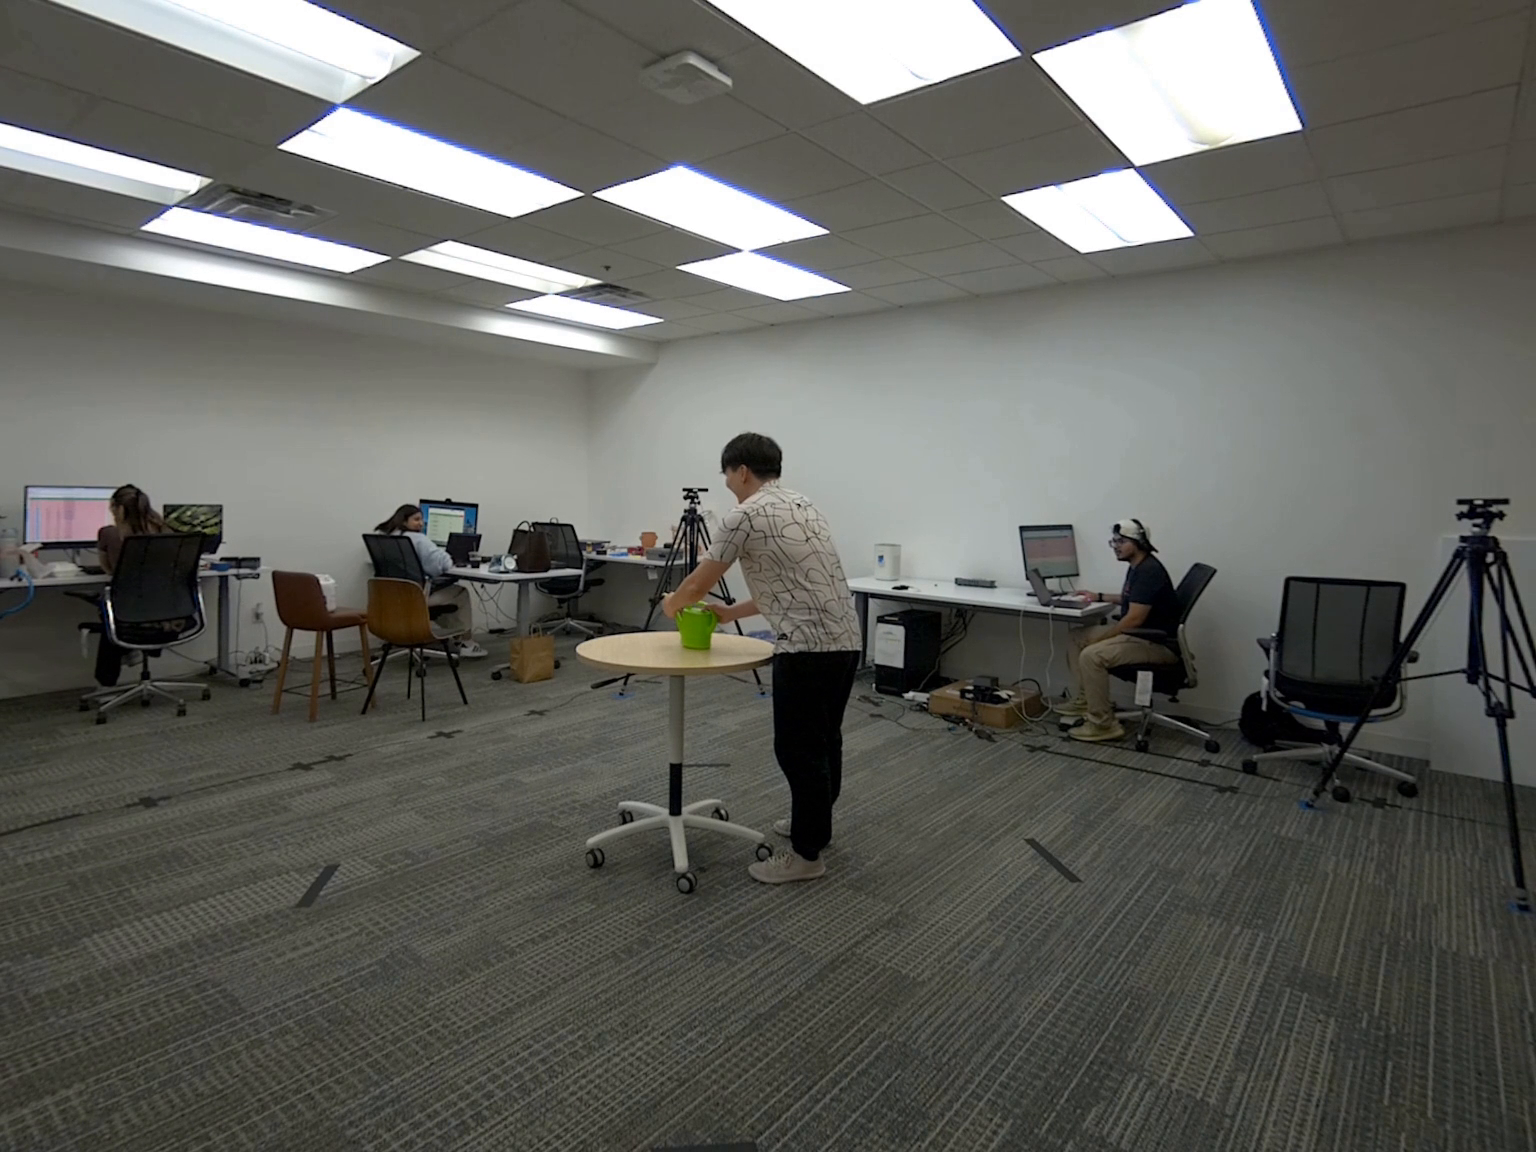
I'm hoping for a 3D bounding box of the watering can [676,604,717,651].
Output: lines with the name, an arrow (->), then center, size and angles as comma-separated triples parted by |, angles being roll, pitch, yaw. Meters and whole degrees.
watering can -> -0.321, 0.175, 3.280 | 0.095, 0.175, 0.289 | -4, 12, -36
